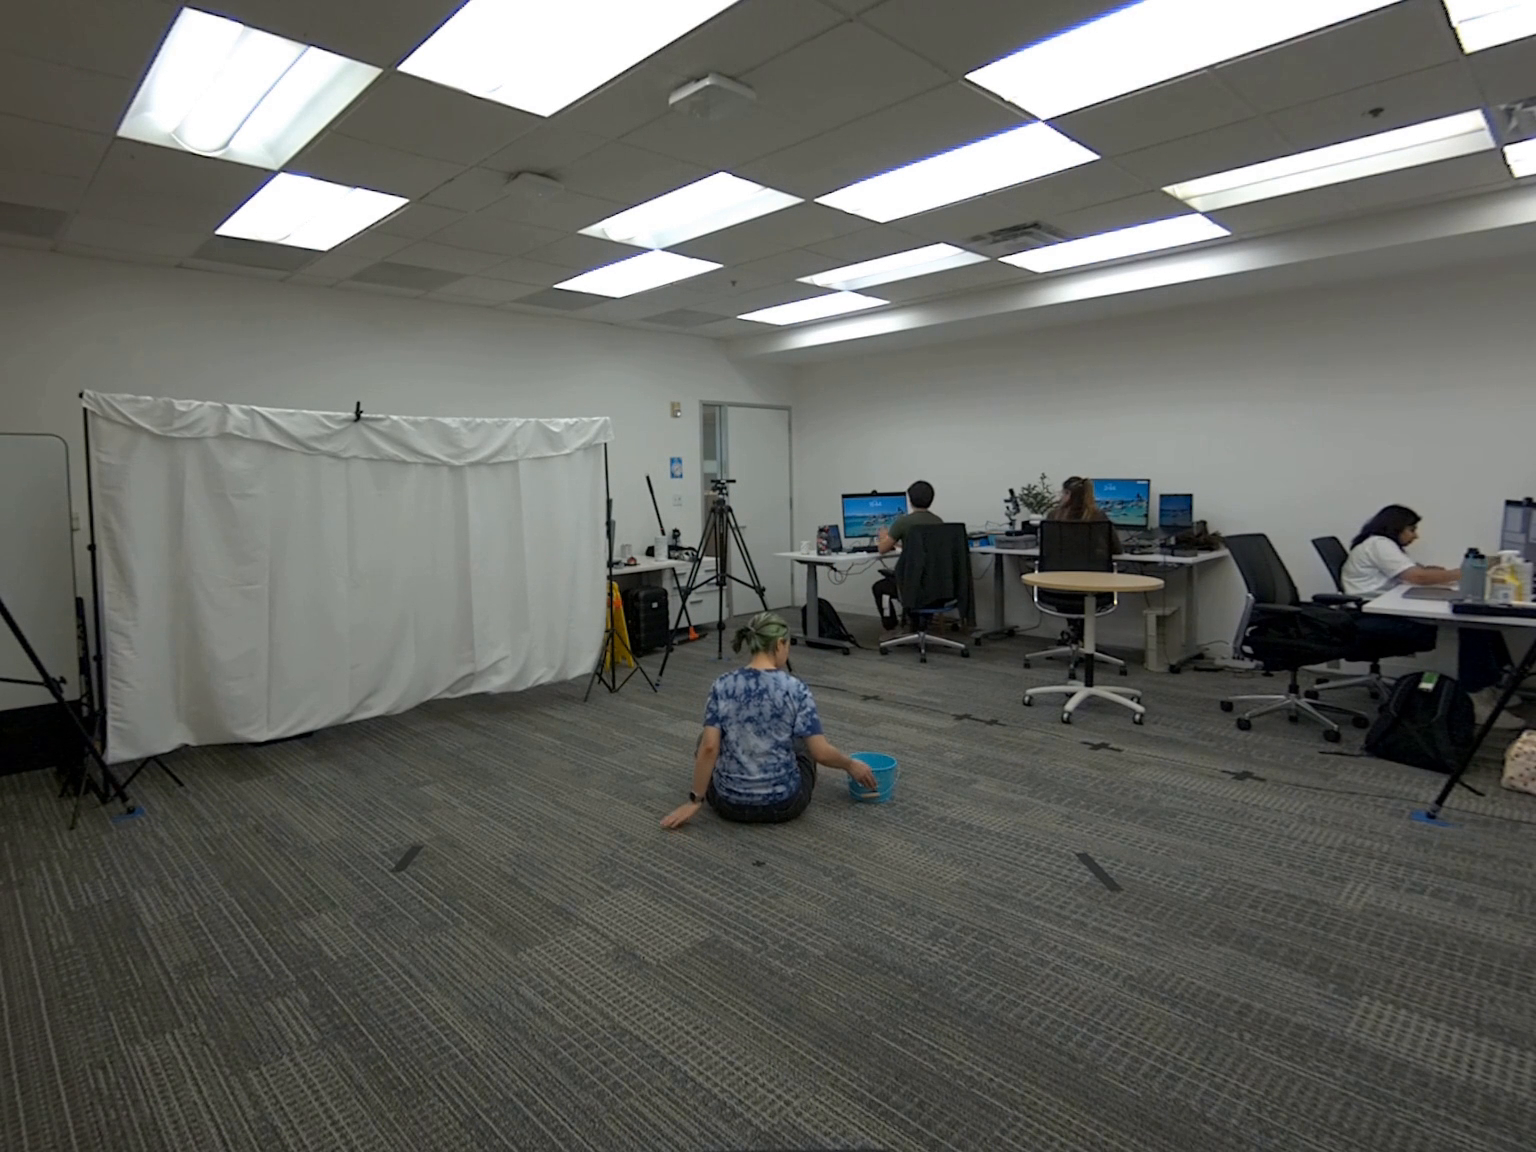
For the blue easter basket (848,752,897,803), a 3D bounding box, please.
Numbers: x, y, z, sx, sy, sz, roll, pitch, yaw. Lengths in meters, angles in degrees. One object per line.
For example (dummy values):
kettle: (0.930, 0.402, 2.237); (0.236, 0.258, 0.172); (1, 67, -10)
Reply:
blue easter basket: (0.446, 0.882, 3.769); (0.243, 0.155, 0.244); (0, 4, -2)
